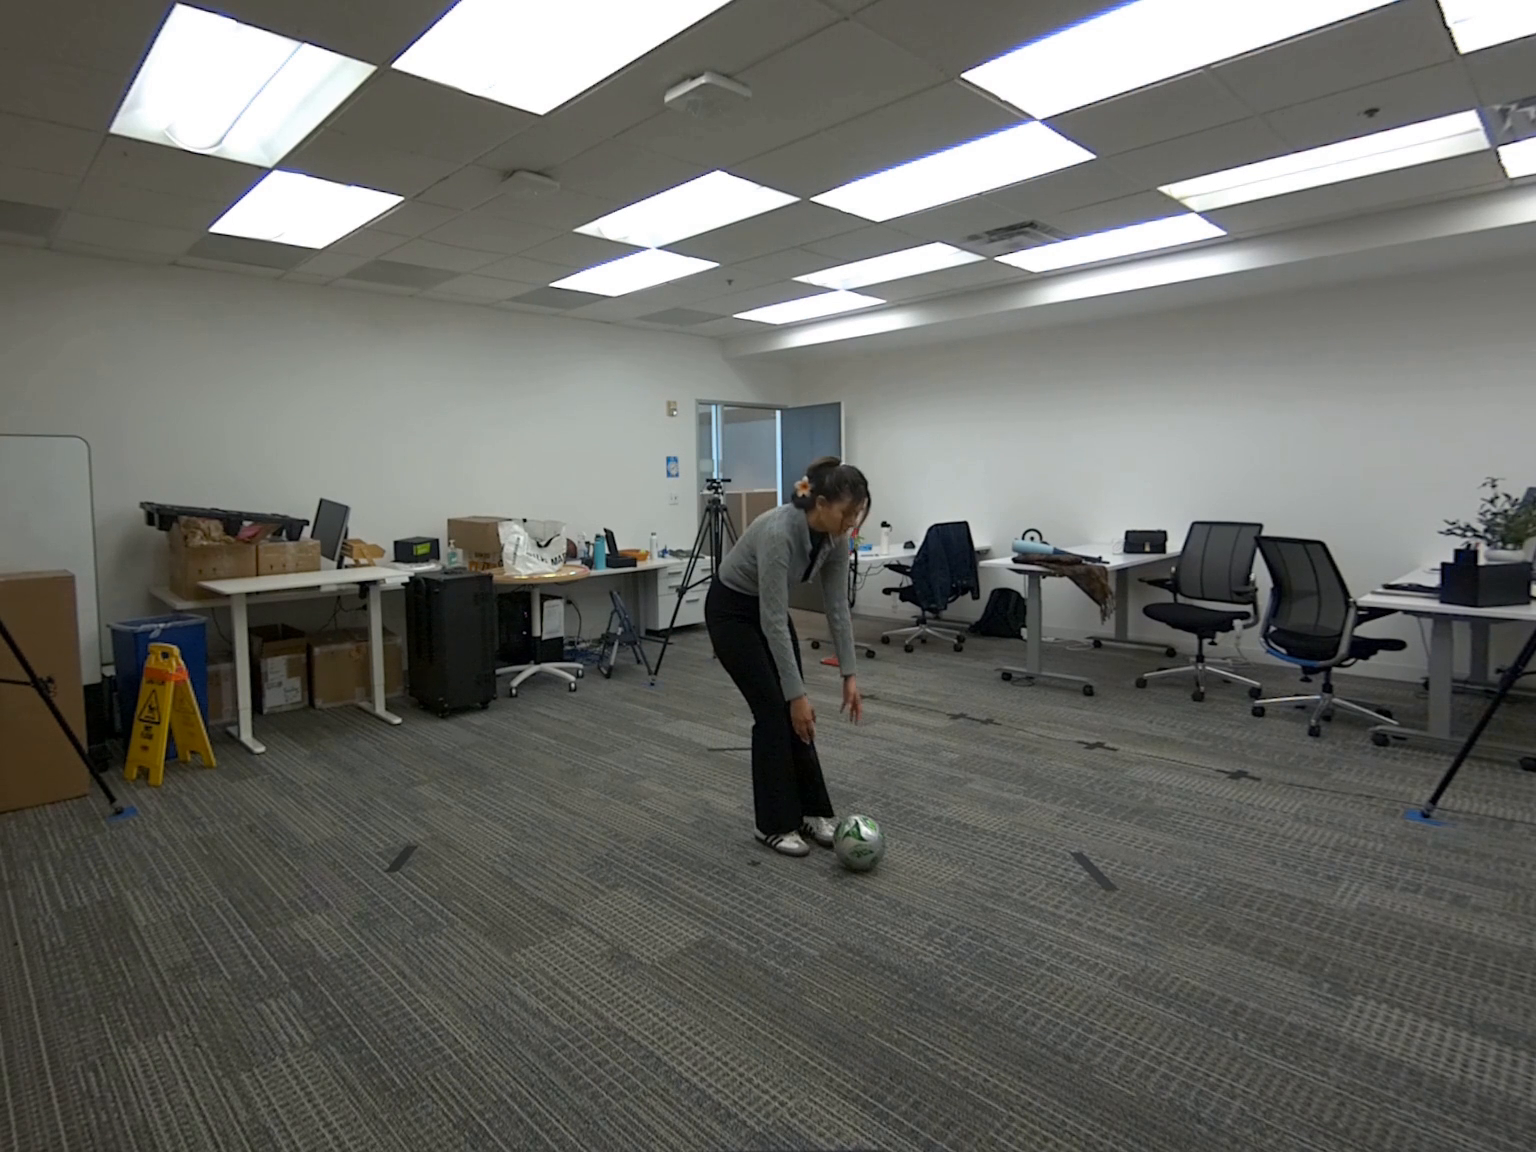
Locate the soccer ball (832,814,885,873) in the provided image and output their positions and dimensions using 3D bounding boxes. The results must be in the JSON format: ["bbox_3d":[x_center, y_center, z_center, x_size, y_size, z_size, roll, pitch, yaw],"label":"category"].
[{"bbox_3d":[0.328,0.951,3.049,0.187,0.187,0.188,-1,5,-2],"label":"soccer ball"}]
